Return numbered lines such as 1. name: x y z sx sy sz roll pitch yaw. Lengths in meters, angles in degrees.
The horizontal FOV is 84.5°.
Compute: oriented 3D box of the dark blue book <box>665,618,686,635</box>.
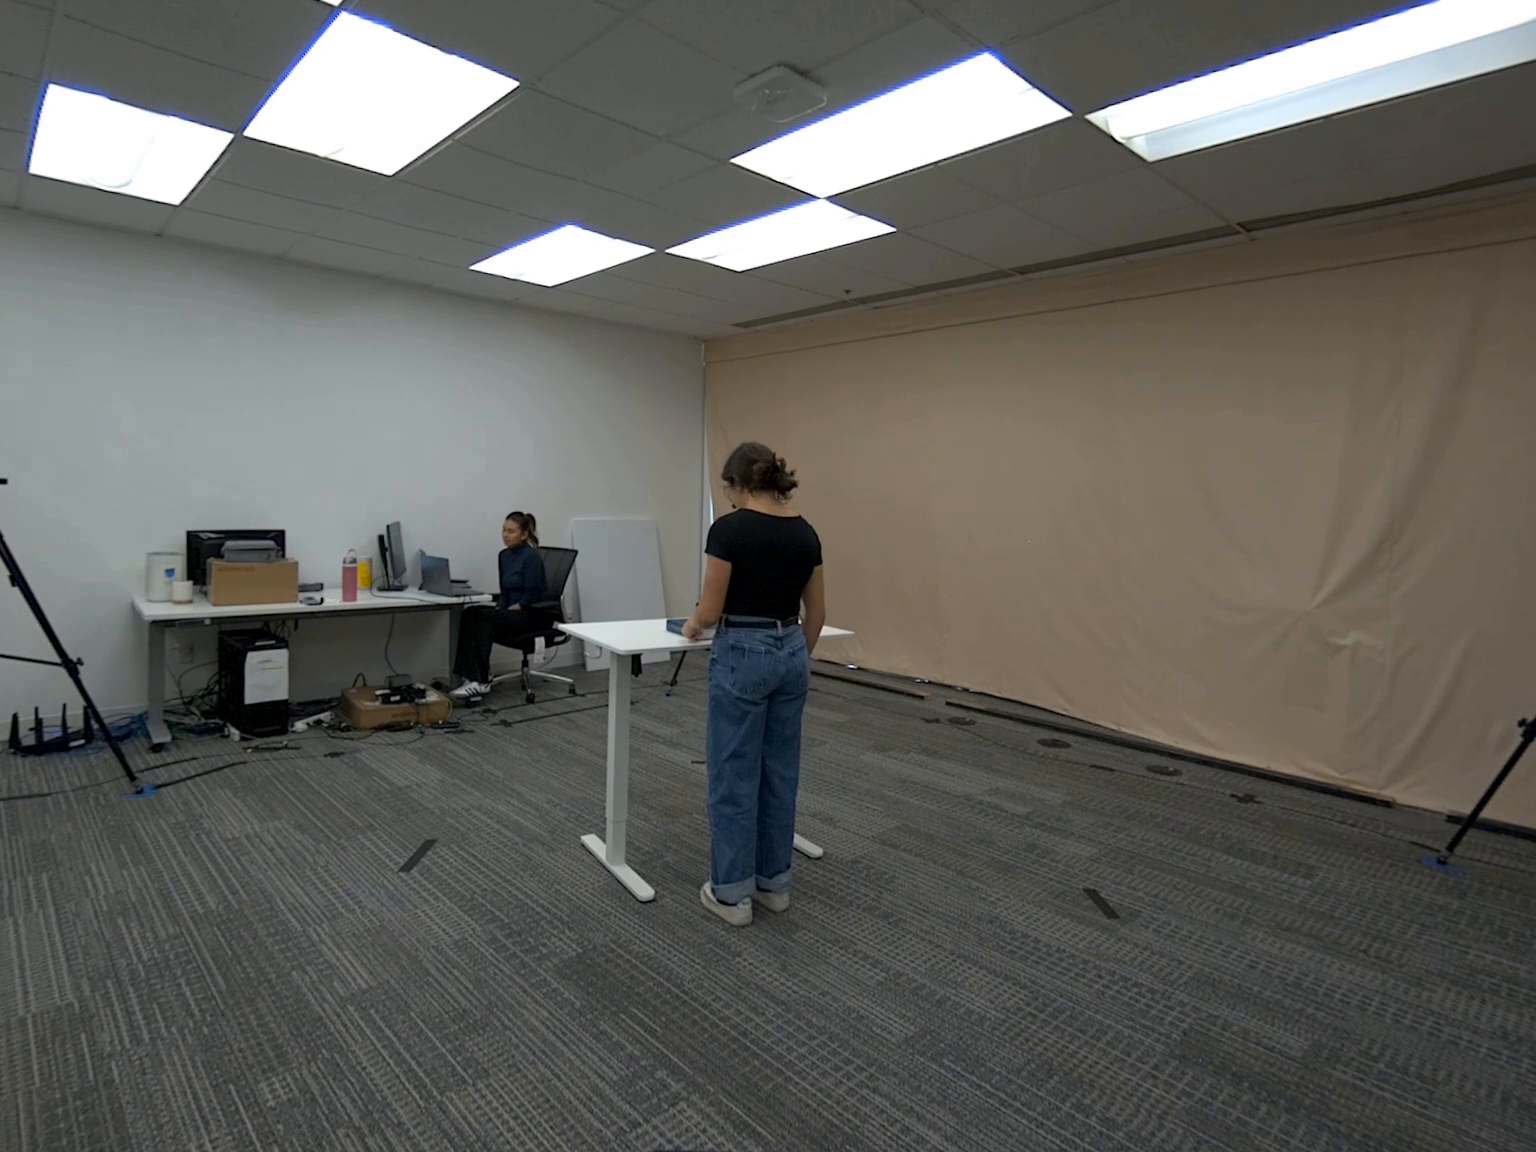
1. dark blue book: -0.248 0.205 3.136 0.160 0.045 0.251 -2 6 -33
